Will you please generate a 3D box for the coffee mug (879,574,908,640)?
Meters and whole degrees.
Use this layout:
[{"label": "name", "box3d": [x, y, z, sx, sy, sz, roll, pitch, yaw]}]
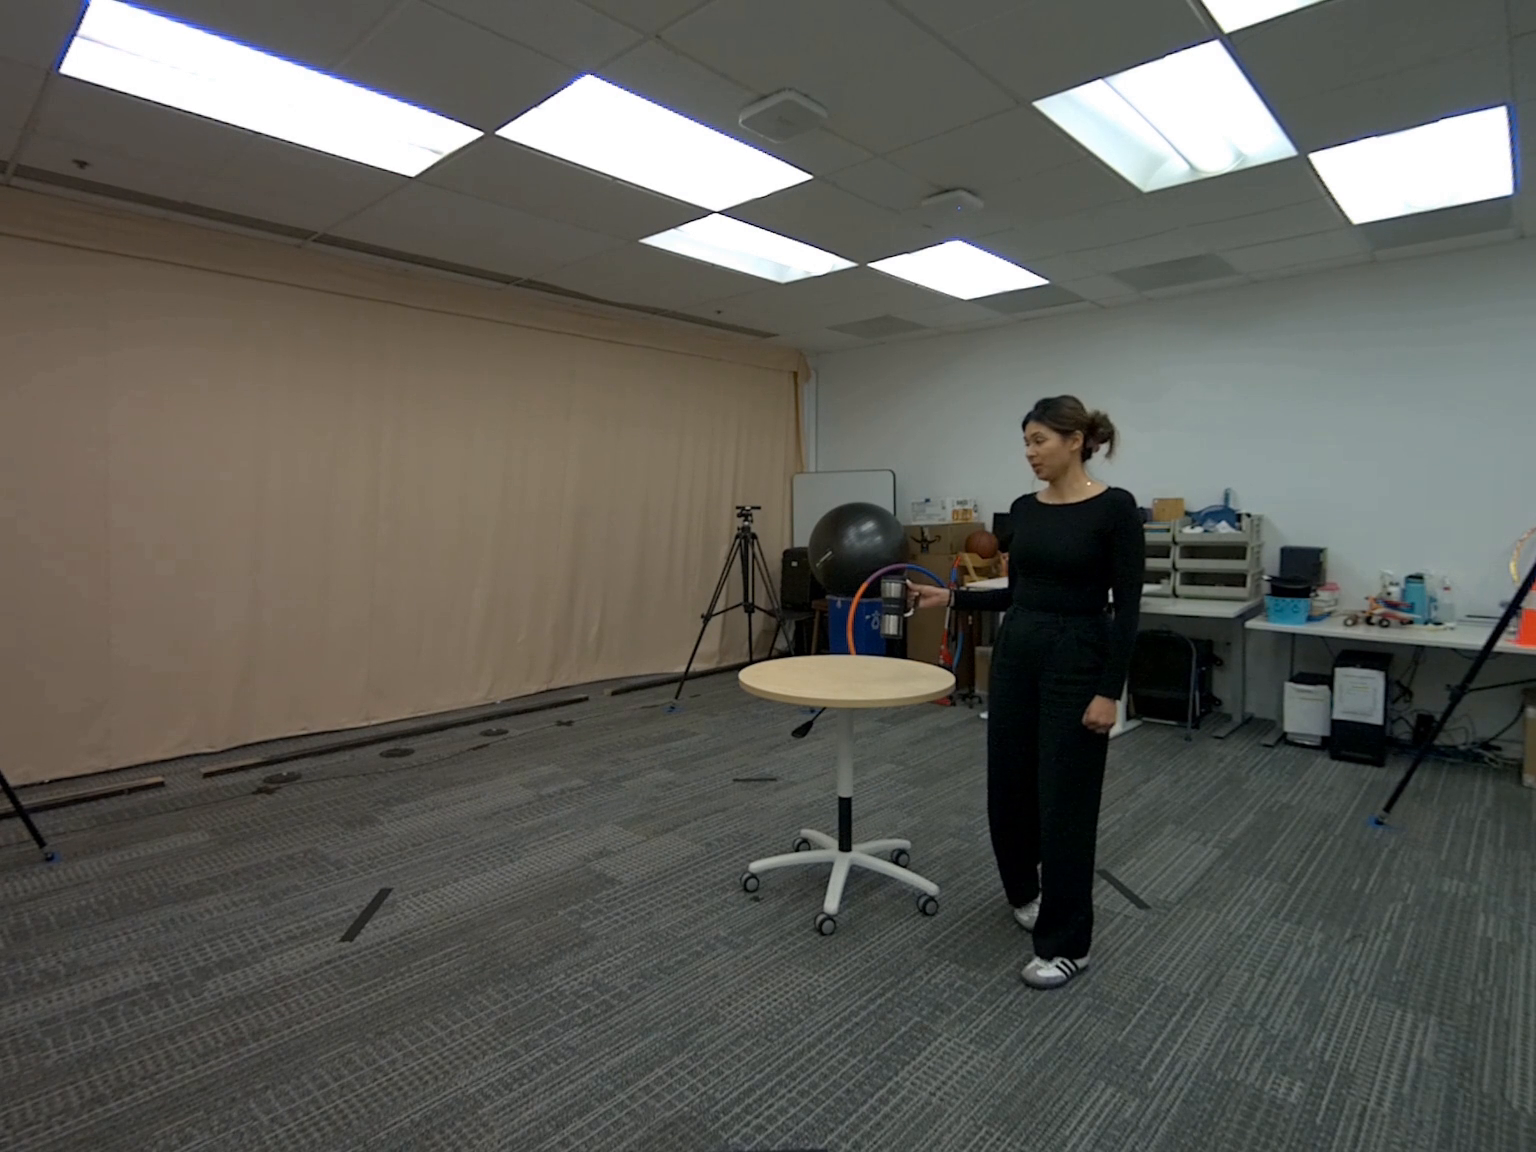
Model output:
[{"label": "coffee mug", "box3d": [0.446, 0.106, 2.786, 0.126, 0.204, 0.085, -3, -9, 45]}]
